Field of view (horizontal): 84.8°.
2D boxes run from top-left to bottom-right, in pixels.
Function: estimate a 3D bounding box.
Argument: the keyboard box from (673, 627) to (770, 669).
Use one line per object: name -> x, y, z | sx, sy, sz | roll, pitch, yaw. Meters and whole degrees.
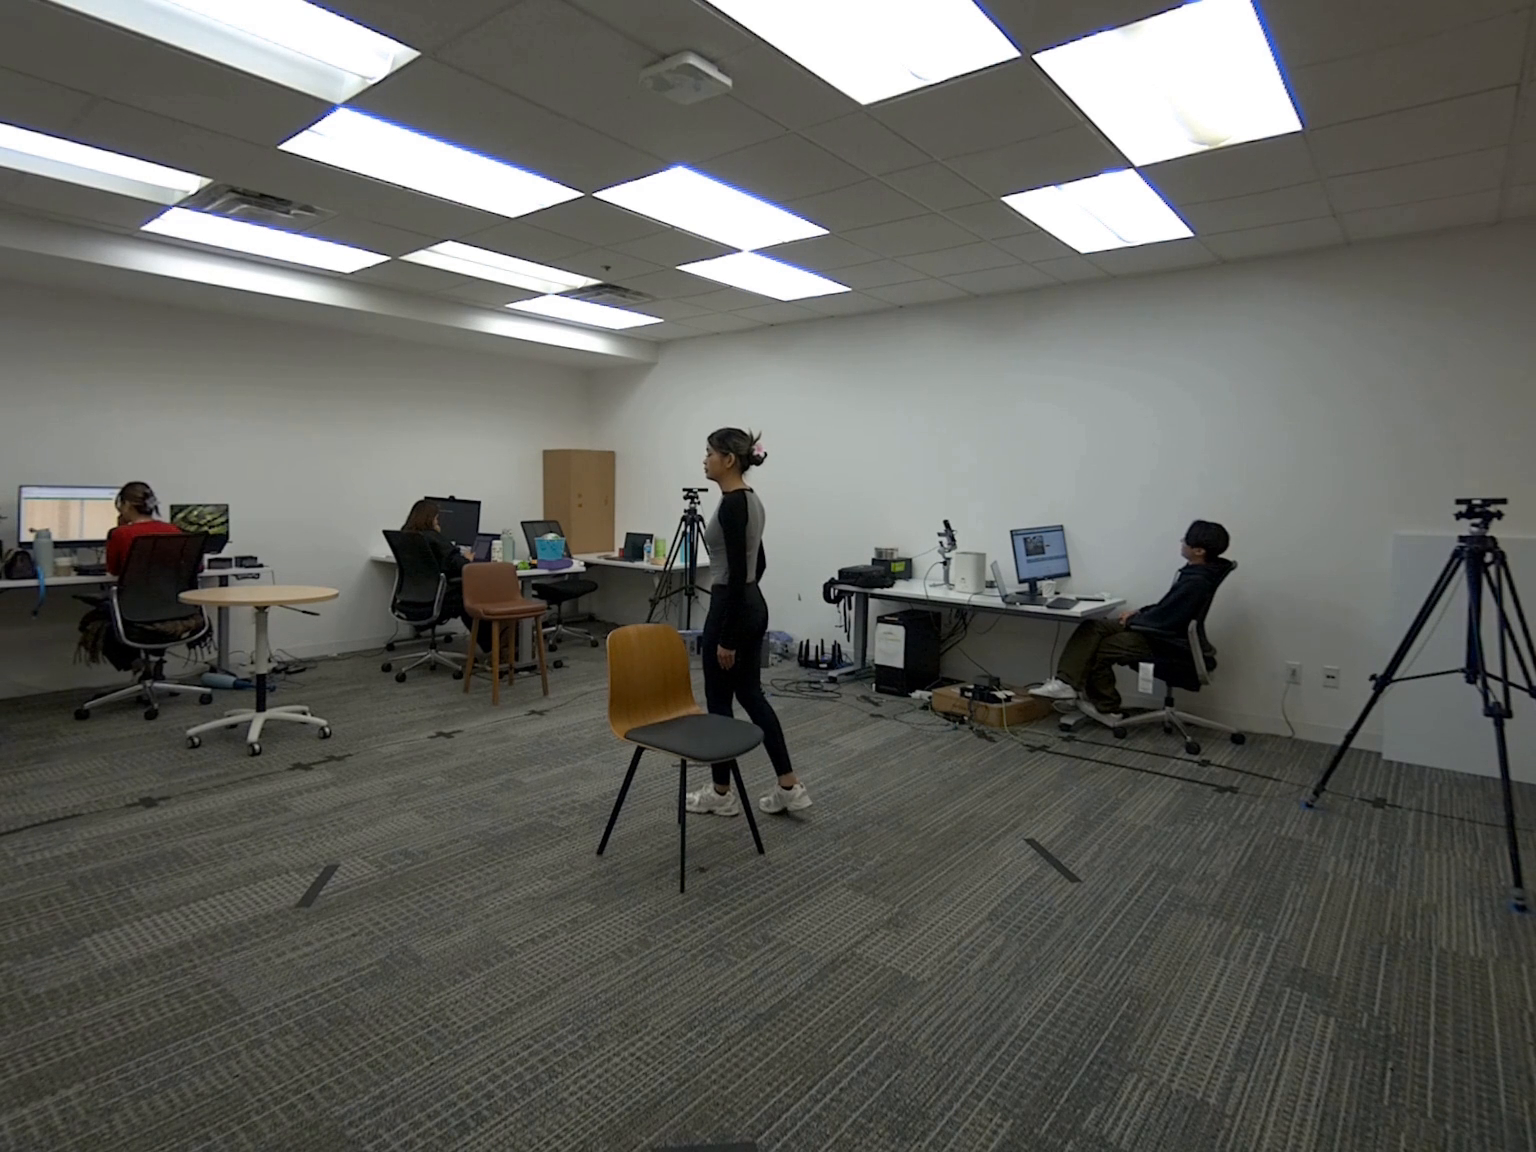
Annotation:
keyboard box -> -0.217, 0.327, 3.871 | 0.434, 0.175, 0.059 | -1, 3, -5
